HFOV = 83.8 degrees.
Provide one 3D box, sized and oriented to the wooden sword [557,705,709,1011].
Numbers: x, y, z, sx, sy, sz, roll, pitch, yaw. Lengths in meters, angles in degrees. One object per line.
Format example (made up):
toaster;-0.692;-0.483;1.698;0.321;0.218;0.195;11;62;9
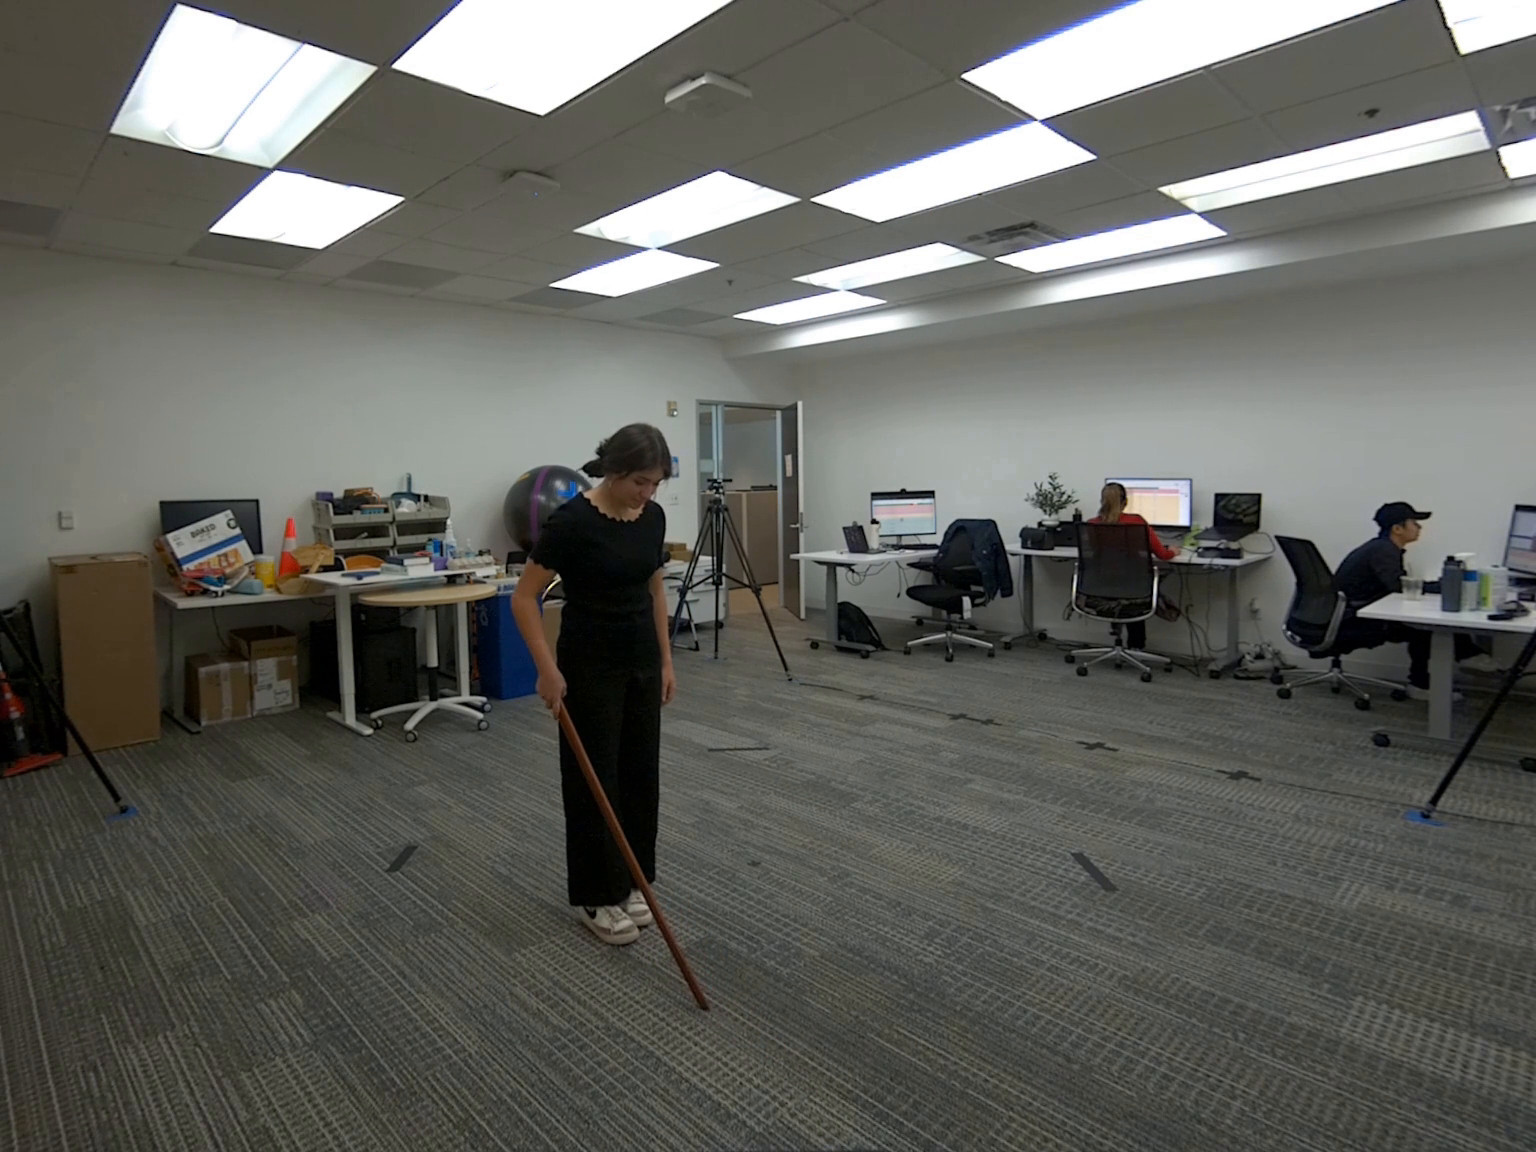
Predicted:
wooden sword;-0.414;0.738;2.391;0.051;1.045;0.023;-43;-17;27
